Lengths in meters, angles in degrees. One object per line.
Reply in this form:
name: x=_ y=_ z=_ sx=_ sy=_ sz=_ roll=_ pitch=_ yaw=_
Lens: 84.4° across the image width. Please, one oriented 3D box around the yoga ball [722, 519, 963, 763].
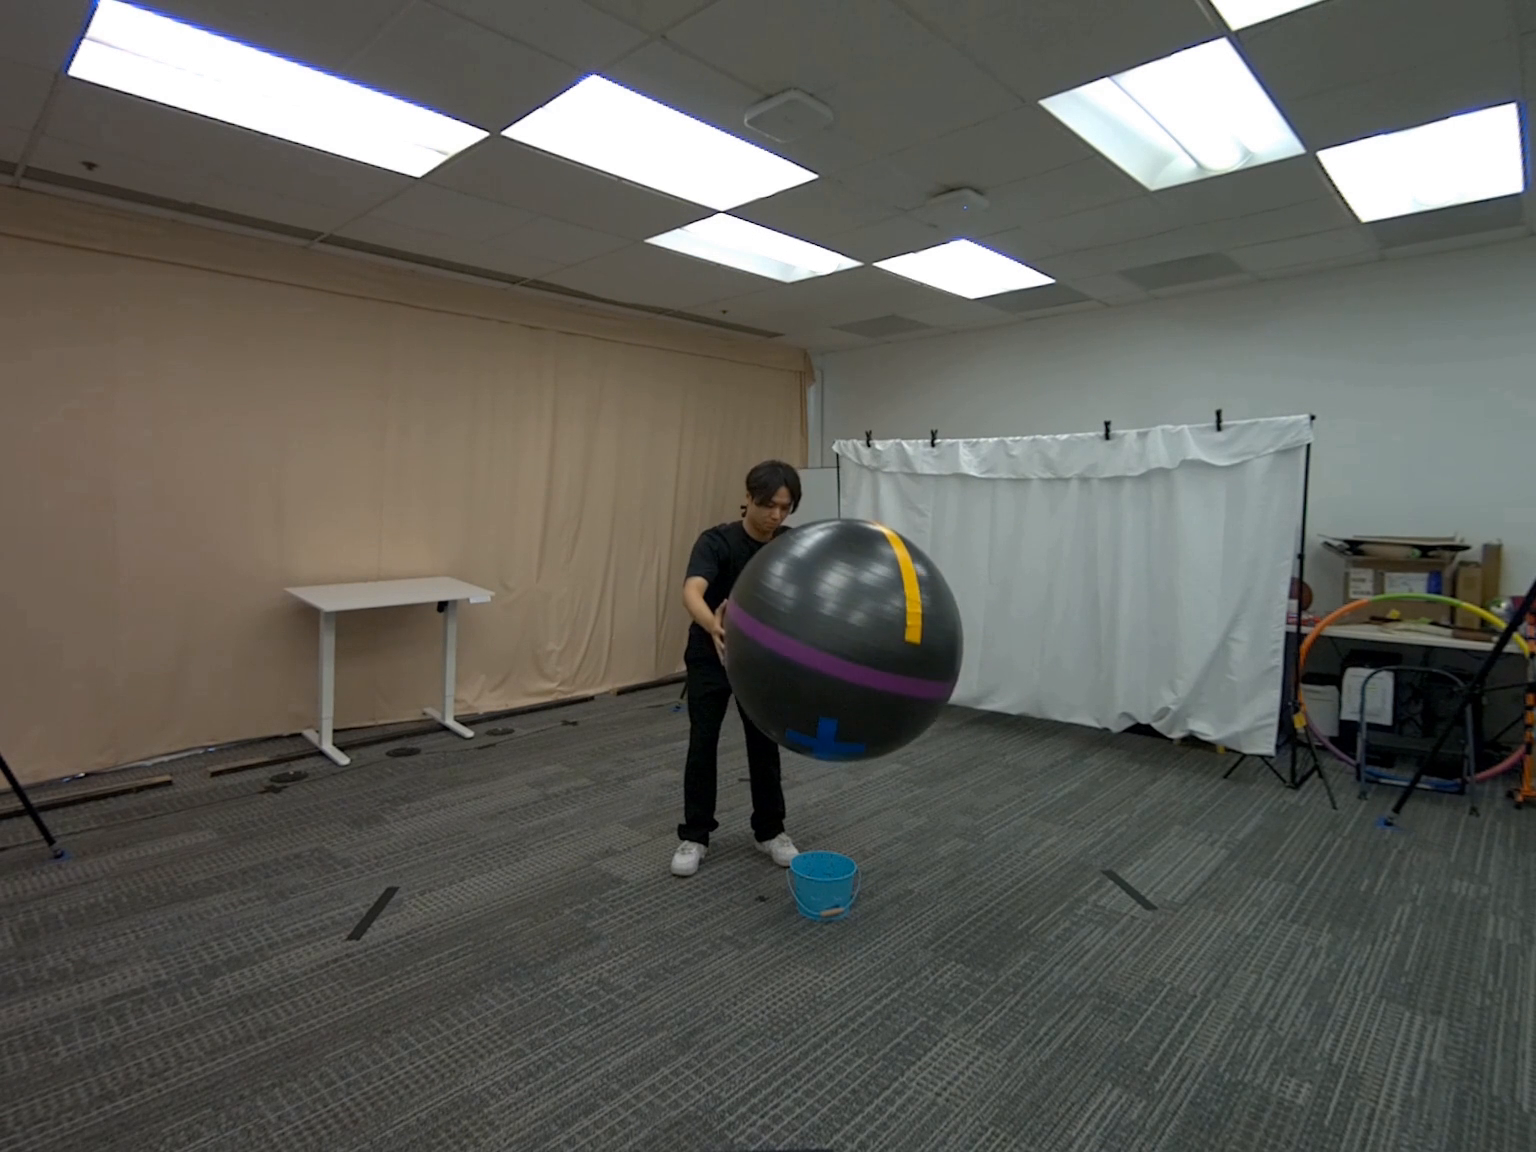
yoga ball: x=0.231 y=0.202 z=2.677 sx=0.757 sy=0.756 sz=0.760 roll=0 pitch=4 yaw=-2
